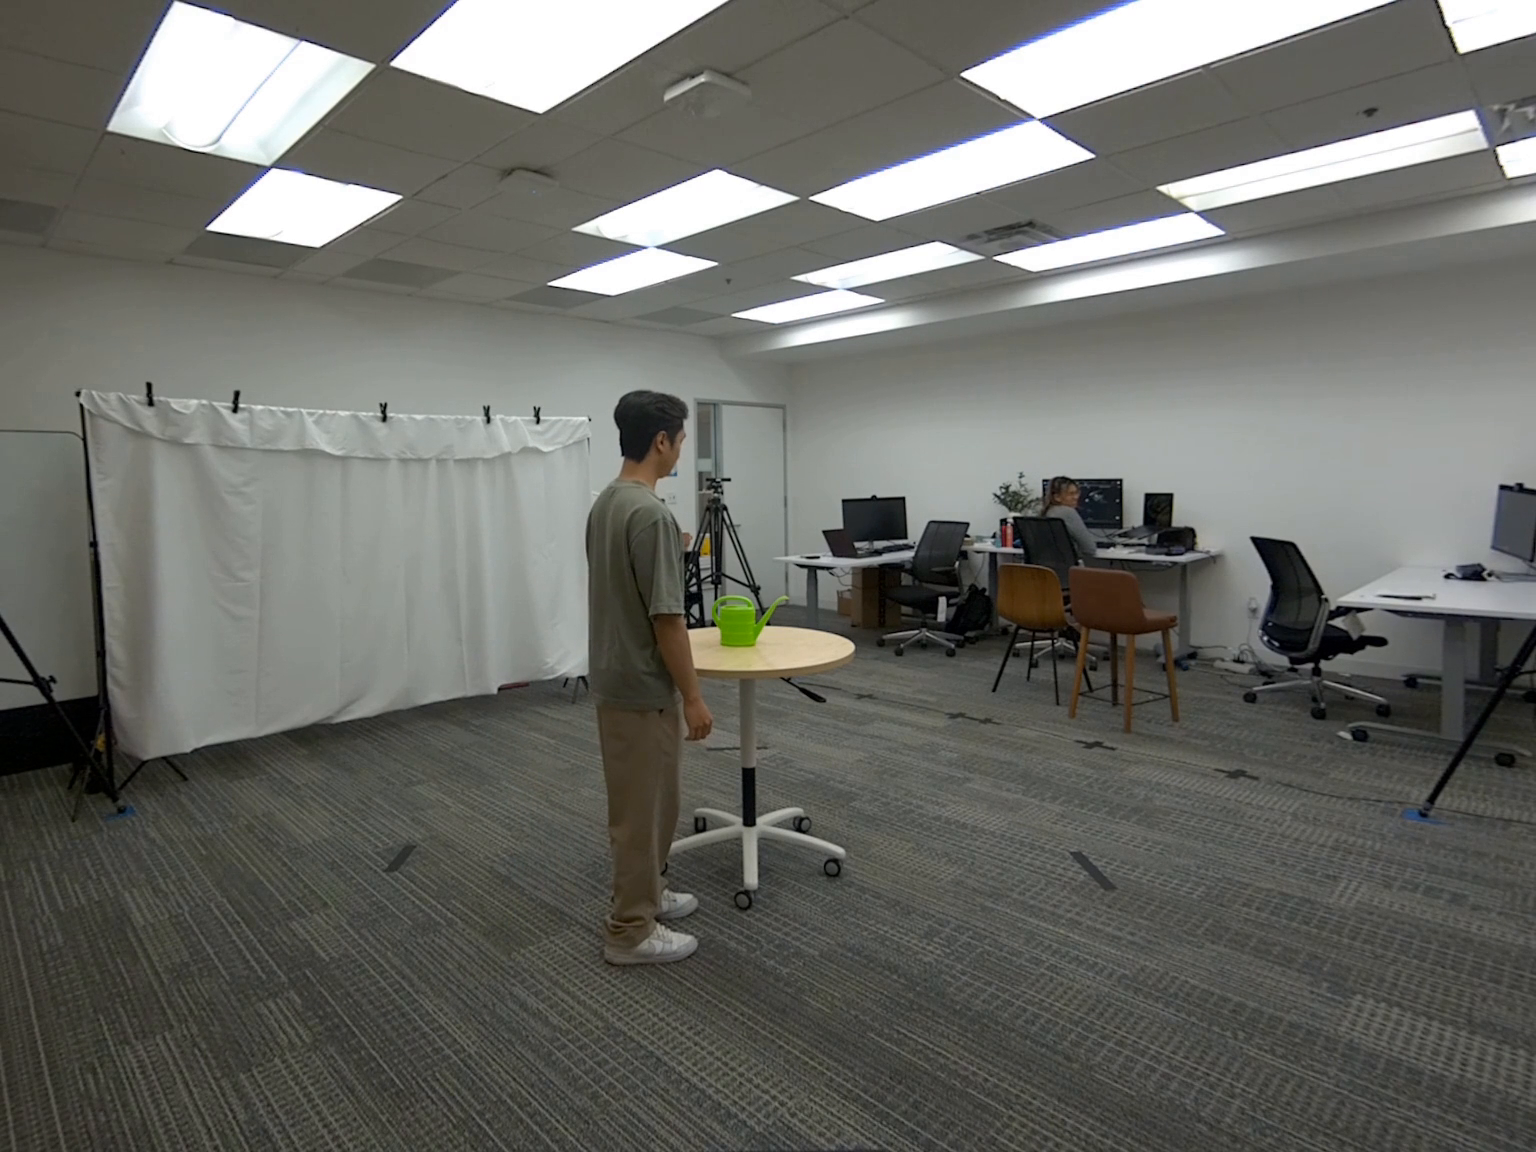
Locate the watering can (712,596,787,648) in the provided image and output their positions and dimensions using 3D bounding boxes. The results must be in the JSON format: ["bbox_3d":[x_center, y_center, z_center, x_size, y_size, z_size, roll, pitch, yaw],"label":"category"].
[{"bbox_3d":[-0.067,0.164,3.054,0.285,0.176,0.096,1,5,31],"label":"watering can"}]
